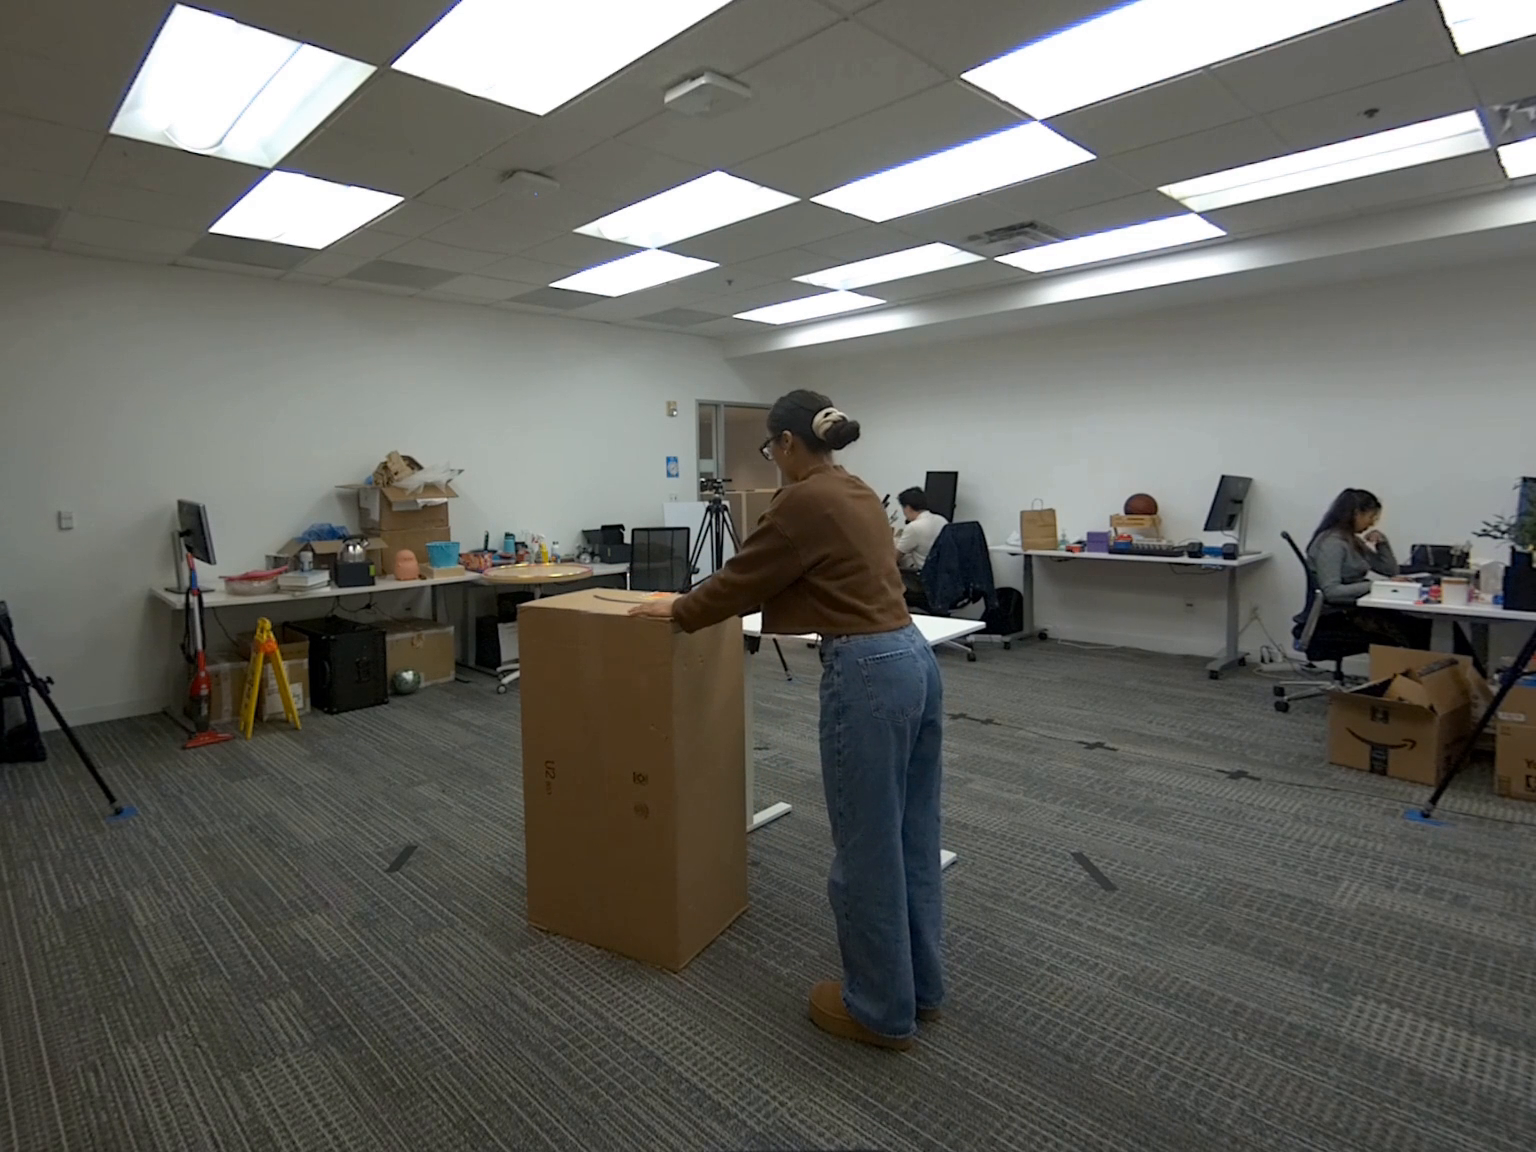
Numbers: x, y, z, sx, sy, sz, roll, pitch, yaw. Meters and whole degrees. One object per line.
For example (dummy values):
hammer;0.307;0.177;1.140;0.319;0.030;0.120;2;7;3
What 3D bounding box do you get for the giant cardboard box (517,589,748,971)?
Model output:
giant cardboard box;-0.420;0.585;2.716;0.592;1.022;0.417;1;5;29
